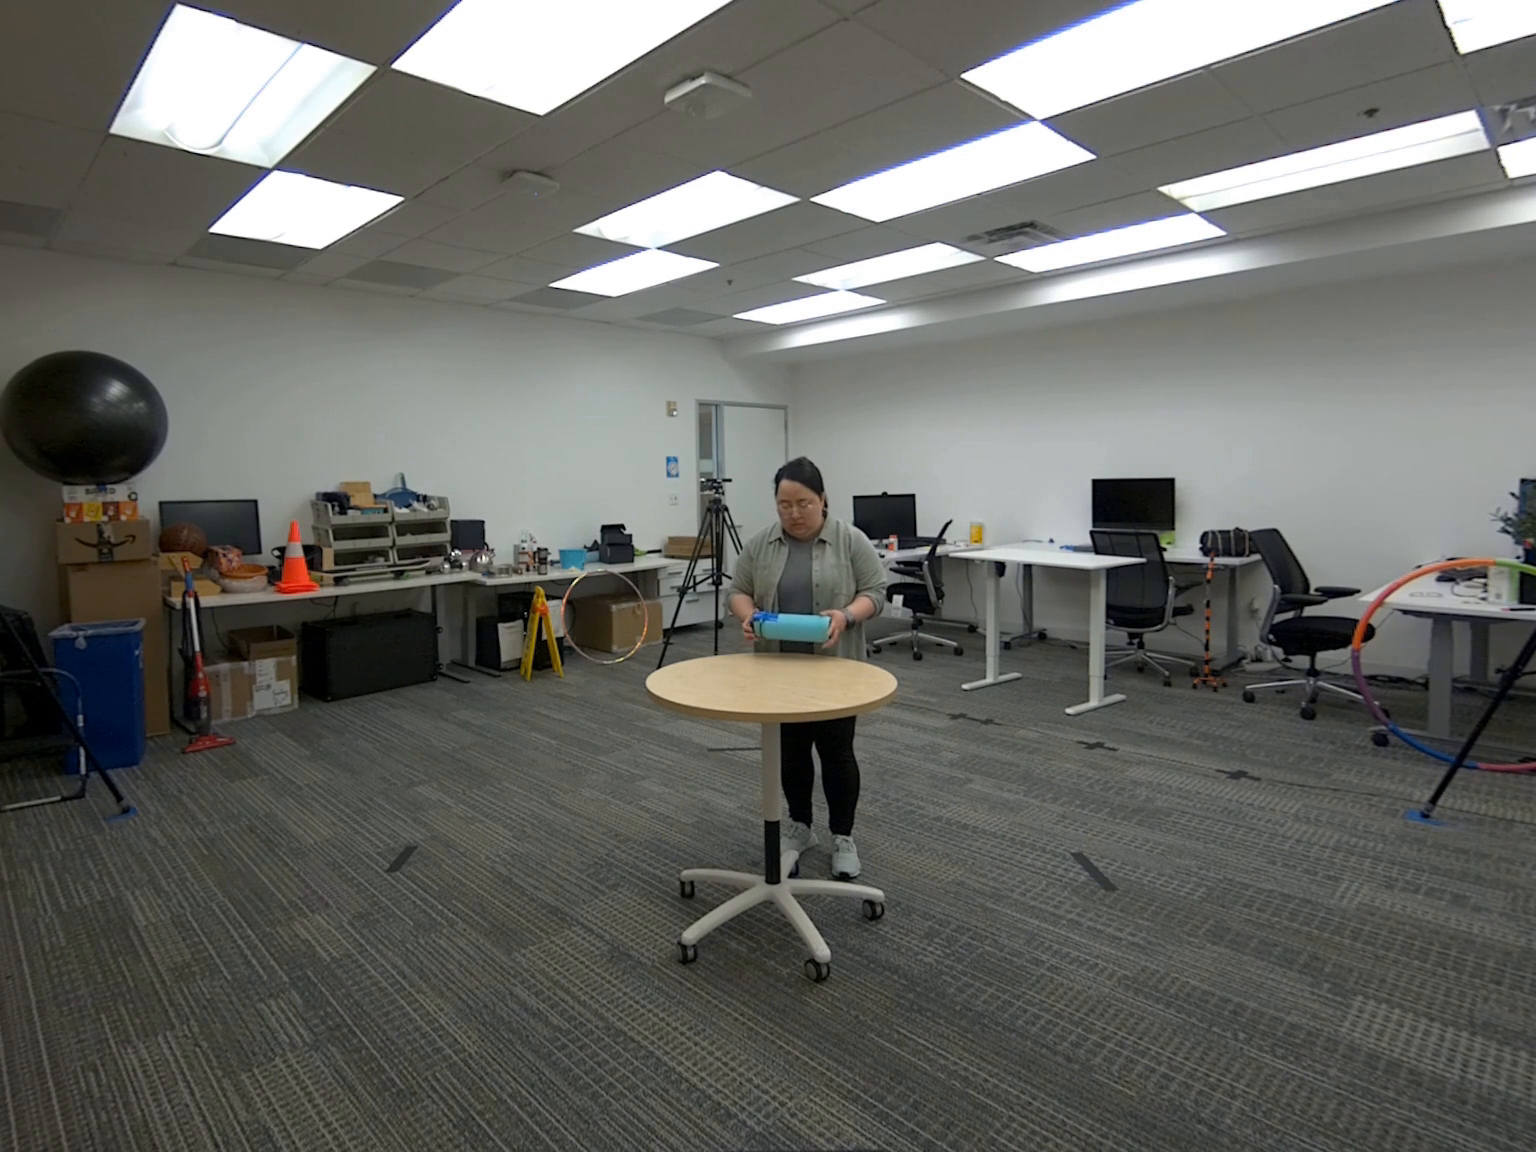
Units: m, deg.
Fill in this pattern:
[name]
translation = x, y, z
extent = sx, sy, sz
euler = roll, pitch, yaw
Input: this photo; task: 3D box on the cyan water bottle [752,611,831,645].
[cyan water bottle]
translation = 0.082, 0.175, 2.917
extent = 0.288, 0.092, 0.091
euler = 4, 6, 15
